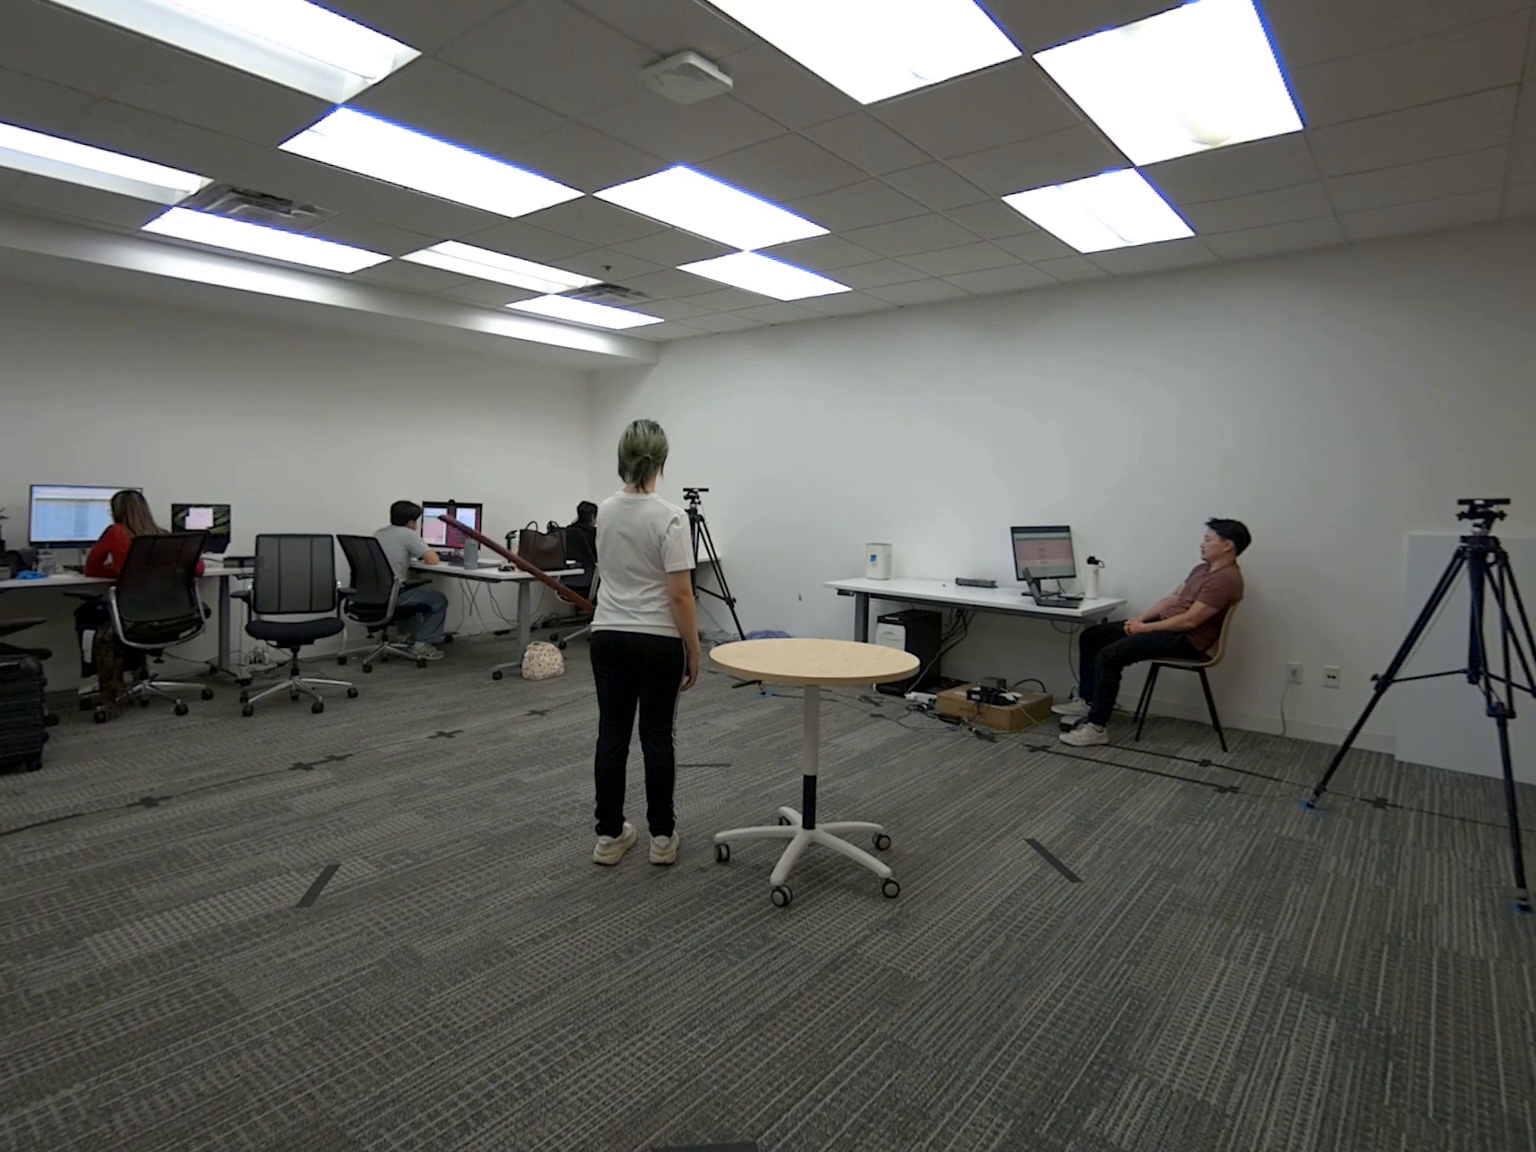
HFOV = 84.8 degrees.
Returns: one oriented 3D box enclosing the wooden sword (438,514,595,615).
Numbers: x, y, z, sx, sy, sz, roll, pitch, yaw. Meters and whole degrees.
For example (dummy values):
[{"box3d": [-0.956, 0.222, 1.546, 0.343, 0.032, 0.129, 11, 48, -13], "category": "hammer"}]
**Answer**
[{"box3d": [-0.904, 0.015, 3.282, 0.983, 0.051, 0.025, 38, -9, -39], "category": "wooden sword"}]
